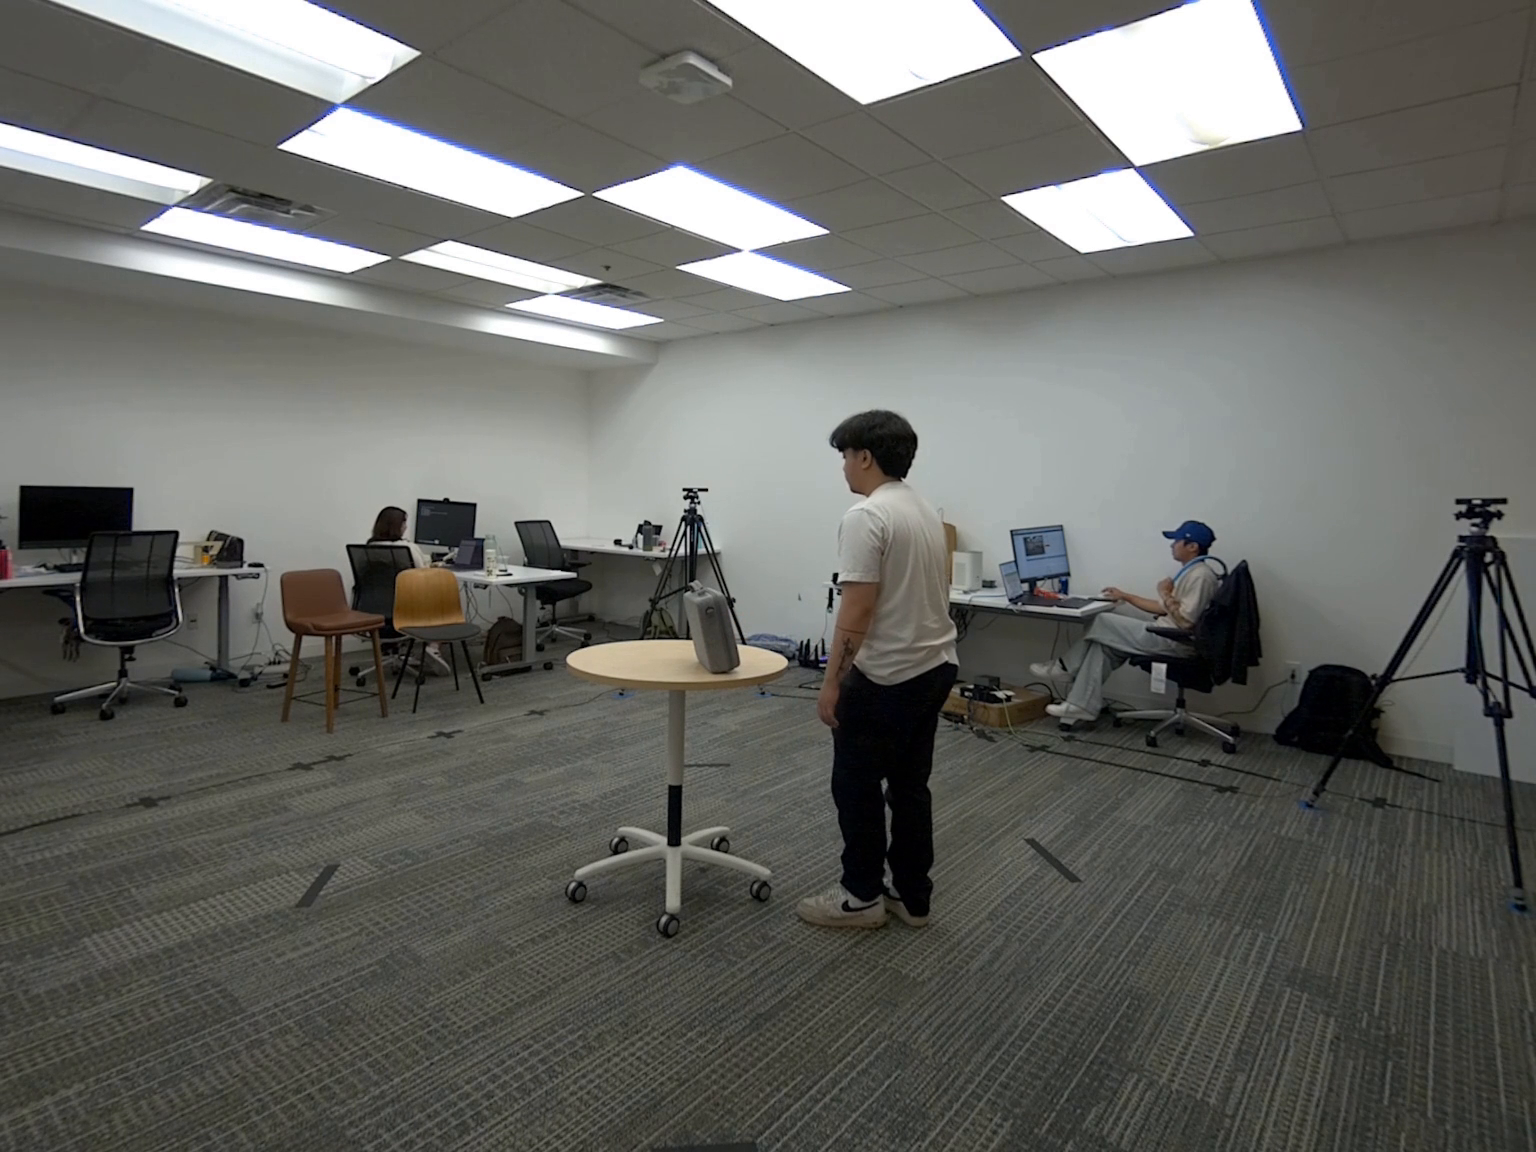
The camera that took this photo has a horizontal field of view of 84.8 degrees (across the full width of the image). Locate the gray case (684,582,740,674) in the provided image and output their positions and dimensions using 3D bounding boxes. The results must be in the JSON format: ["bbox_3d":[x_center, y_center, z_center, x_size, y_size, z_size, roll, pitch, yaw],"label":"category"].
[{"bbox_3d":[-0.202,0.163,2.808,0.103,0.259,0.261,-13,7,-14],"label":"gray case"}]
